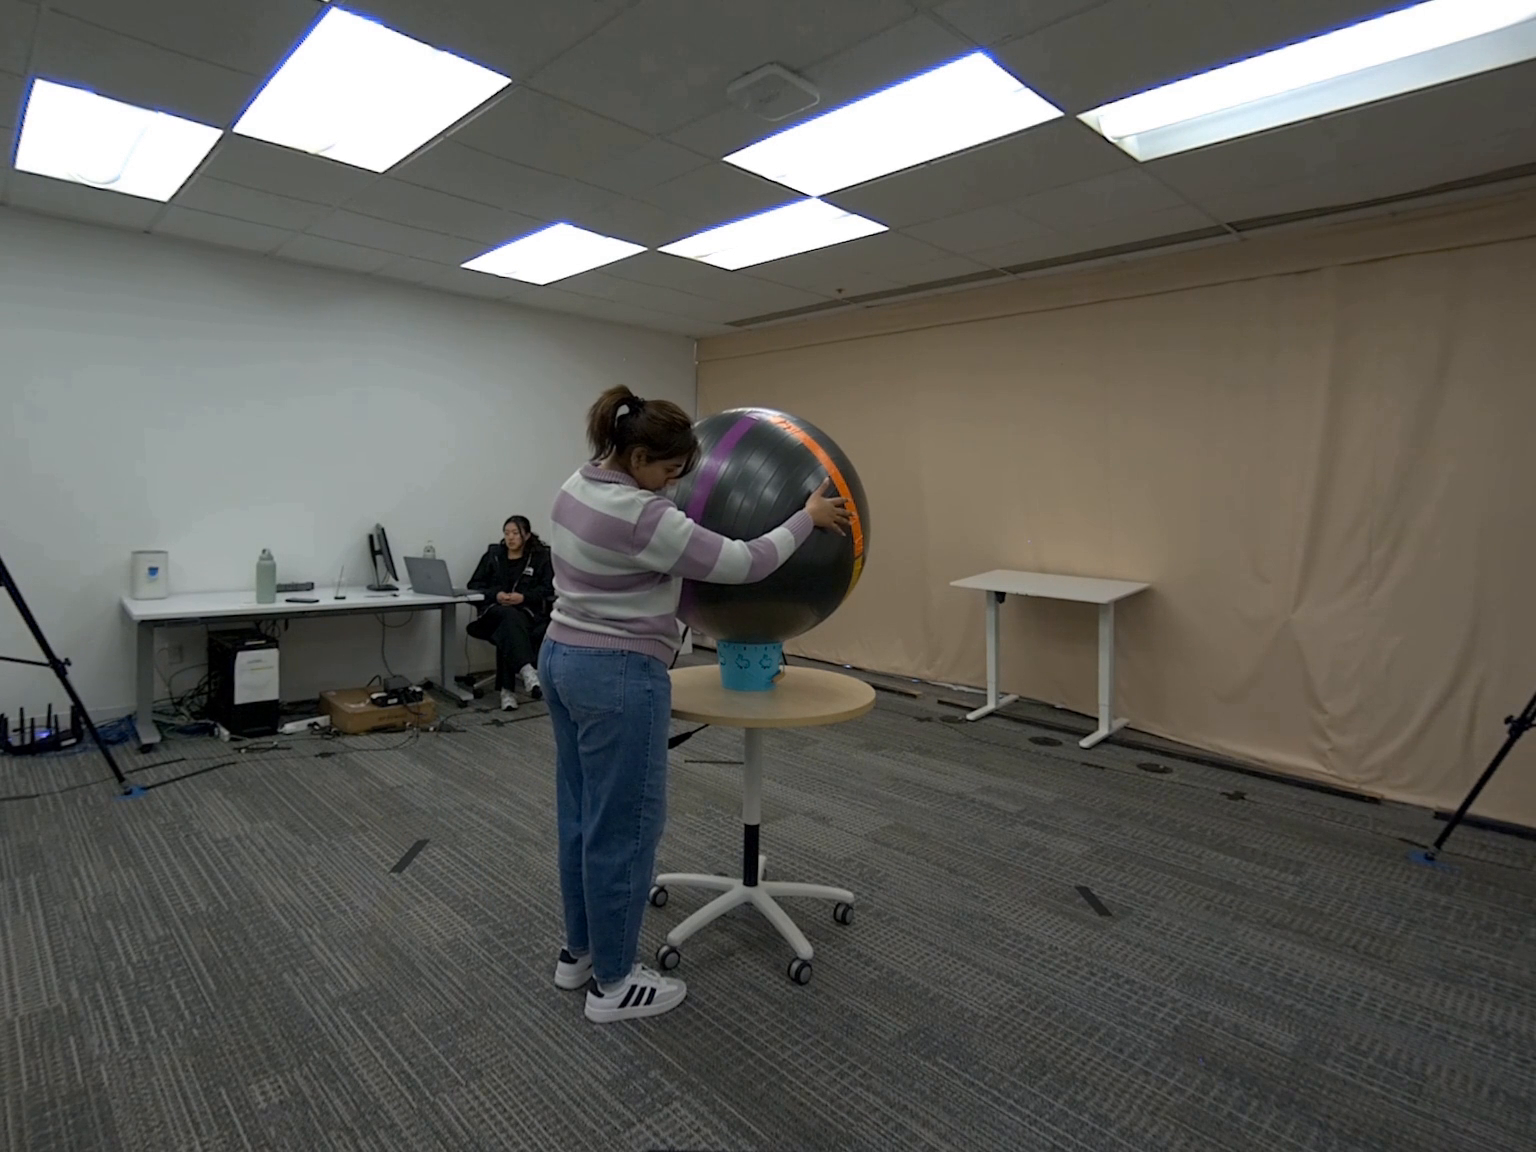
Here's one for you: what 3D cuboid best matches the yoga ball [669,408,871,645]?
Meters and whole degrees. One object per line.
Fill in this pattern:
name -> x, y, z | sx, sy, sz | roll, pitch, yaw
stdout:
yoga ball -> -0.048, -0.154, 2.713 | 0.757, 0.756, 0.761 | 1, 4, -1
